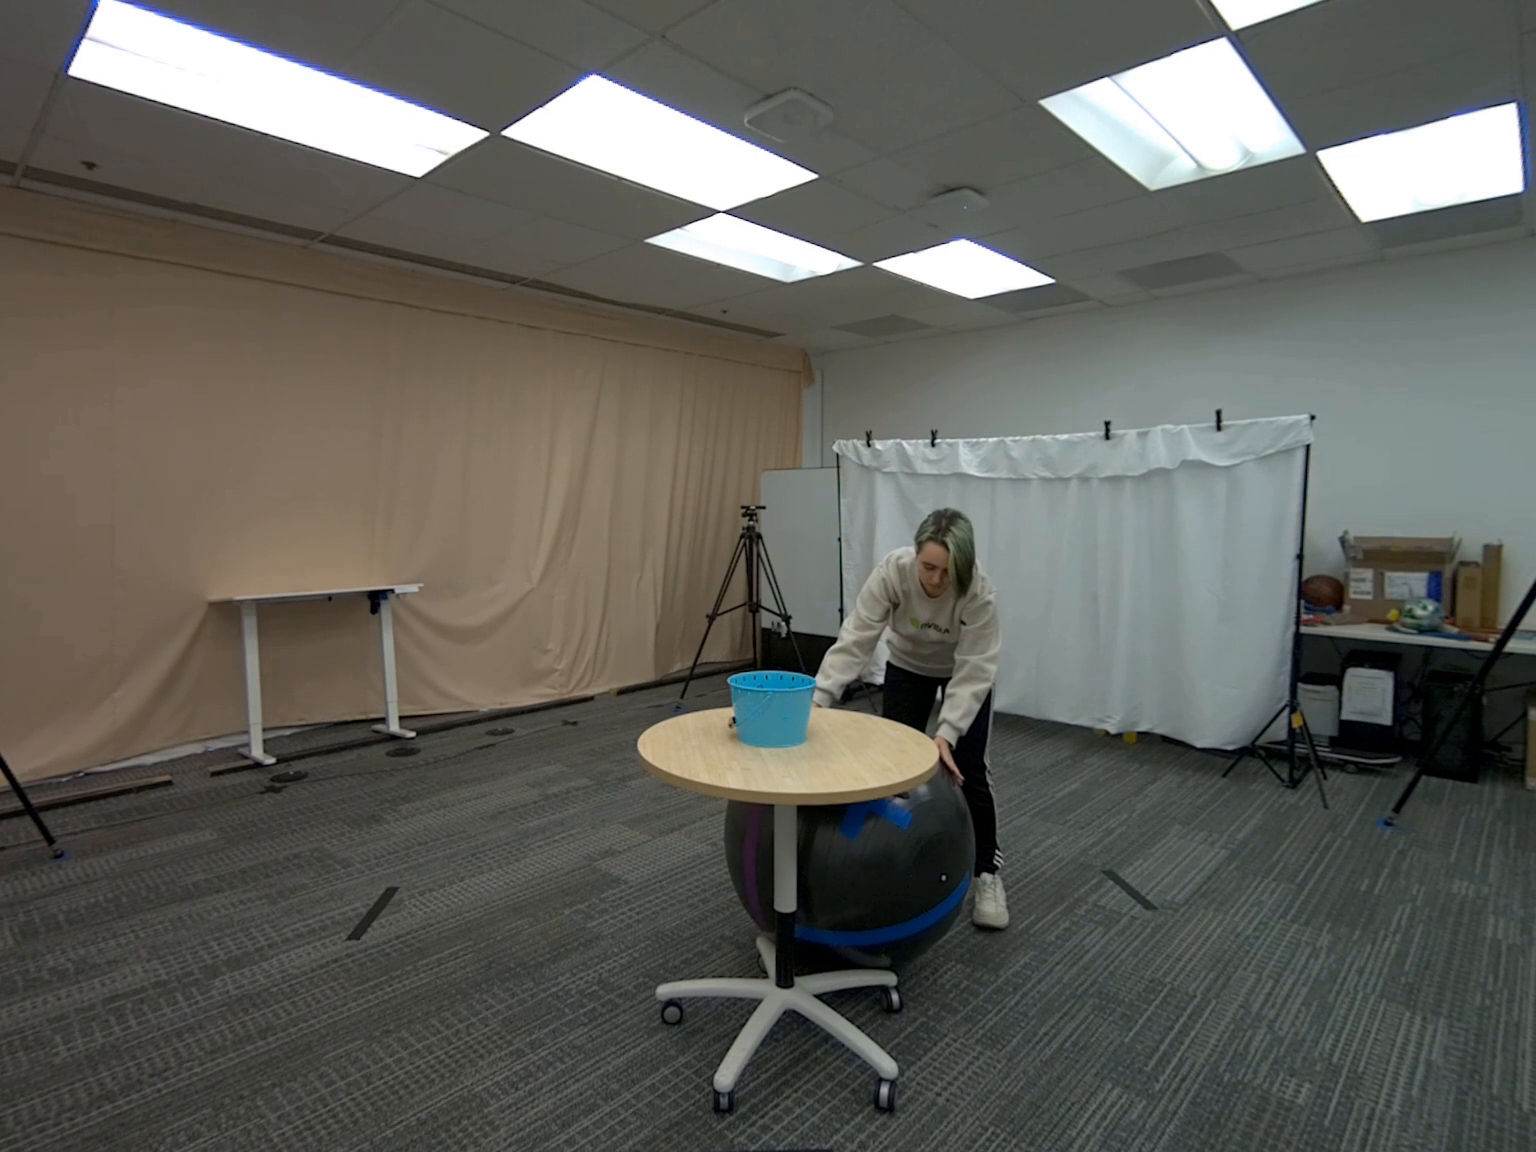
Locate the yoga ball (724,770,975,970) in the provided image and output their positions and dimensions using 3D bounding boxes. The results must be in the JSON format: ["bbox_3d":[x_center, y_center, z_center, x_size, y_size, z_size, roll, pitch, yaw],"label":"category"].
[{"bbox_3d":[0.248,0.805,2.589,0.757,0.756,0.761,0,4,-2],"label":"yoga ball"}]
